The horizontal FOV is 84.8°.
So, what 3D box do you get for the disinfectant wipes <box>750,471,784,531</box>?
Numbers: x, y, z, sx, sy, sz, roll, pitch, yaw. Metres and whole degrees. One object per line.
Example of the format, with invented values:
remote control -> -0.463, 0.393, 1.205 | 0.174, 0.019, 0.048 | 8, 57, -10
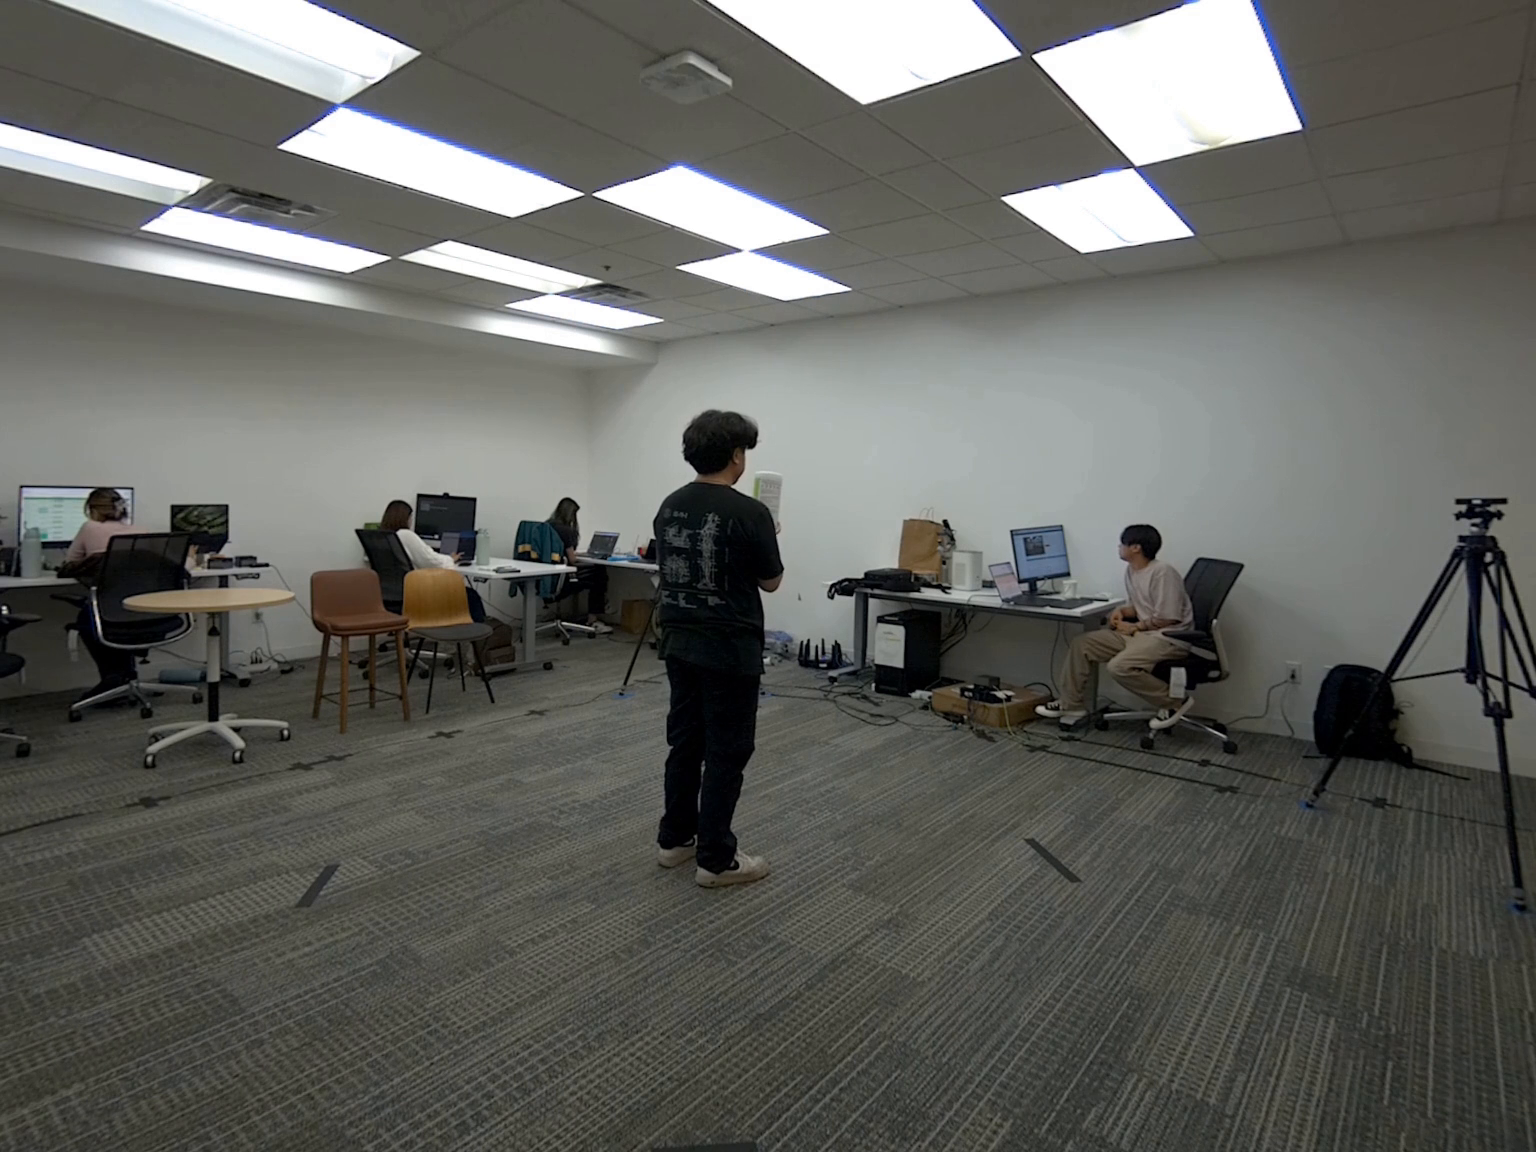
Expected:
disinfectant wipes -> -0.013, -0.296, 3.324 | 0.118, 0.217, 0.118 | 6, 0, -2
